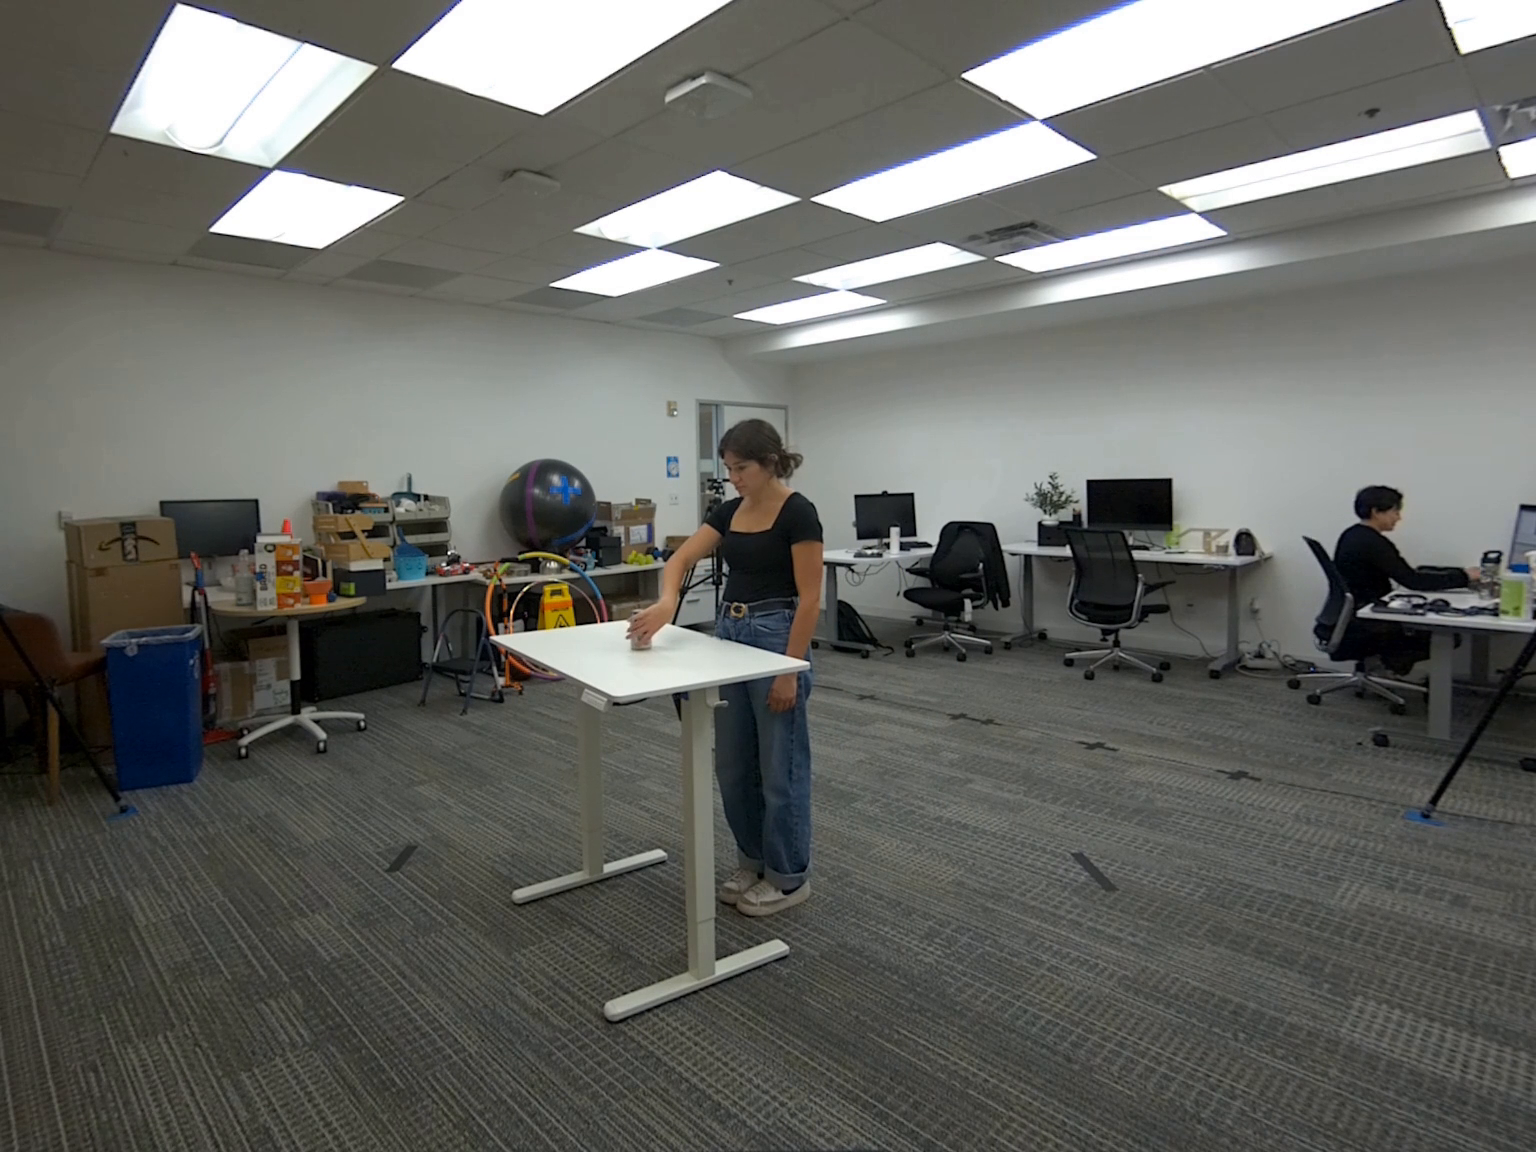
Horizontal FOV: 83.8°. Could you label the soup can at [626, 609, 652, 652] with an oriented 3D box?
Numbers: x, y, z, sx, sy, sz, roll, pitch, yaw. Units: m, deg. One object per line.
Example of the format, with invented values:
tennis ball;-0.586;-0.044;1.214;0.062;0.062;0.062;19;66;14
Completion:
soup can;-0.374;0.162;2.632;0.067;0.121;0.067;0;1;-2
